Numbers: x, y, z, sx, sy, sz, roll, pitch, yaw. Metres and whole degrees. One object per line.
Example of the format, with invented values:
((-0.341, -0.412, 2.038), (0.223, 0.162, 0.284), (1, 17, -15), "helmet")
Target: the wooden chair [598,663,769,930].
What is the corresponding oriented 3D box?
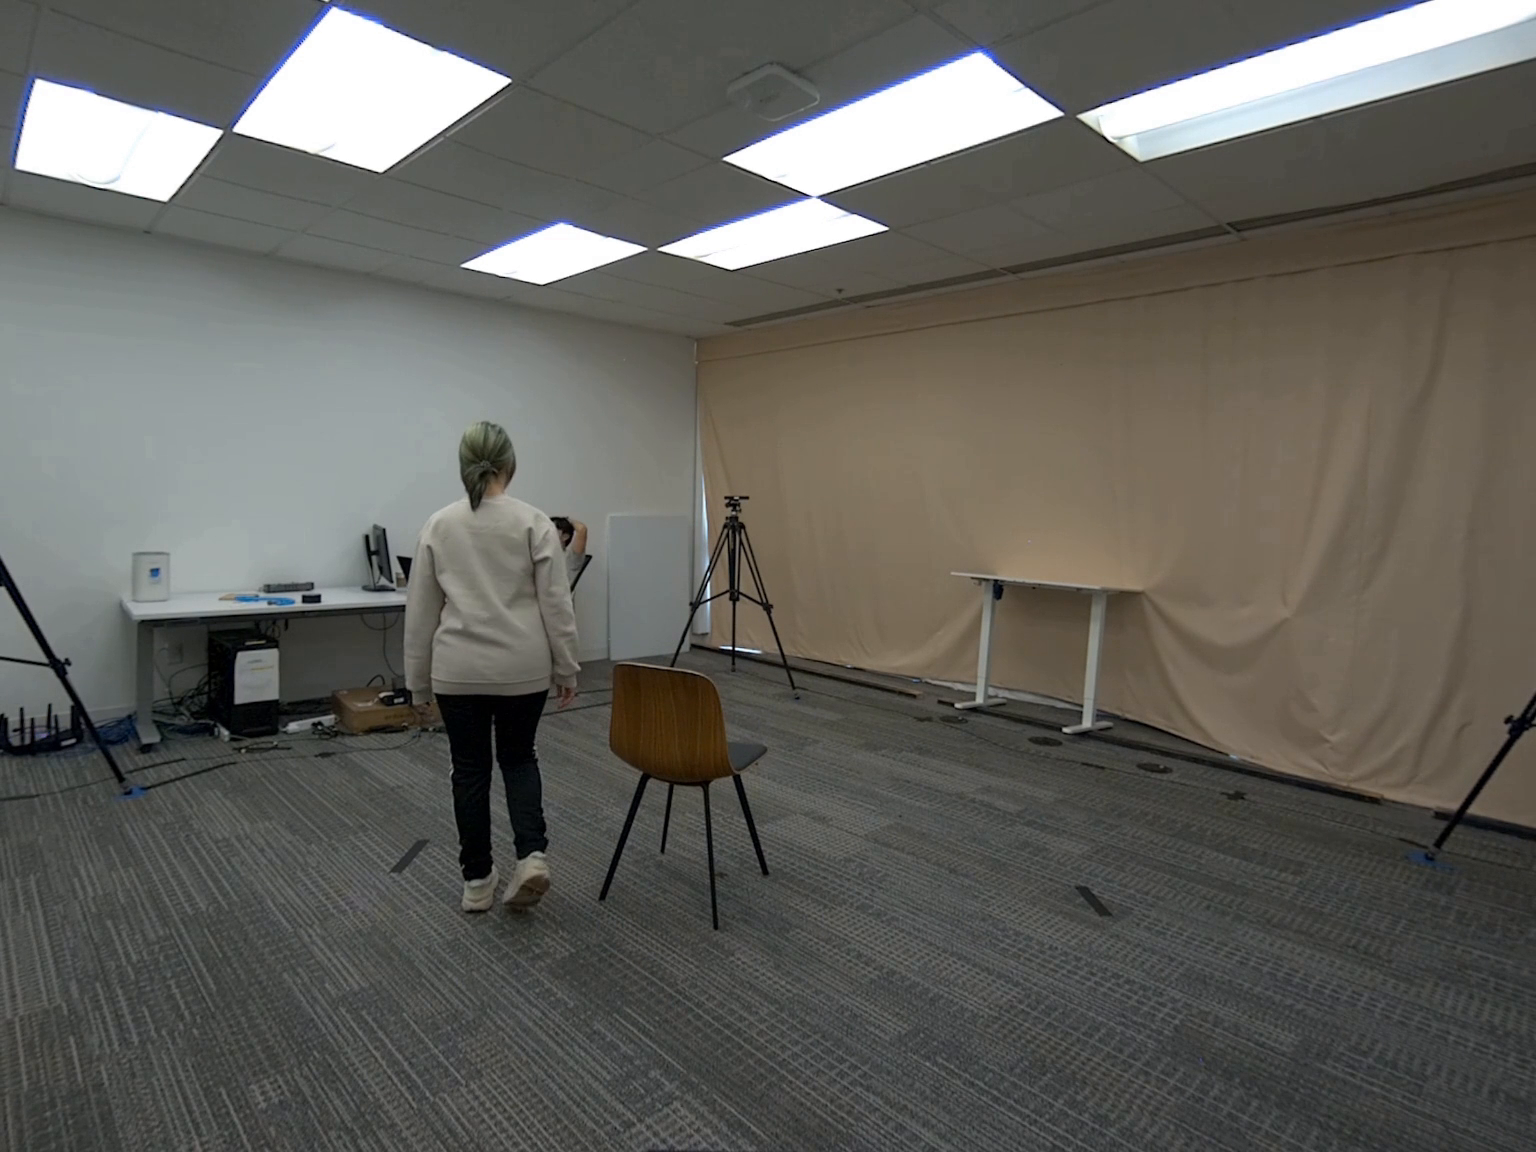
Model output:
((-0.282, 0.684, 2.979), (0.487, 0.872, 0.516), (3, 8, 23), "wooden chair")
